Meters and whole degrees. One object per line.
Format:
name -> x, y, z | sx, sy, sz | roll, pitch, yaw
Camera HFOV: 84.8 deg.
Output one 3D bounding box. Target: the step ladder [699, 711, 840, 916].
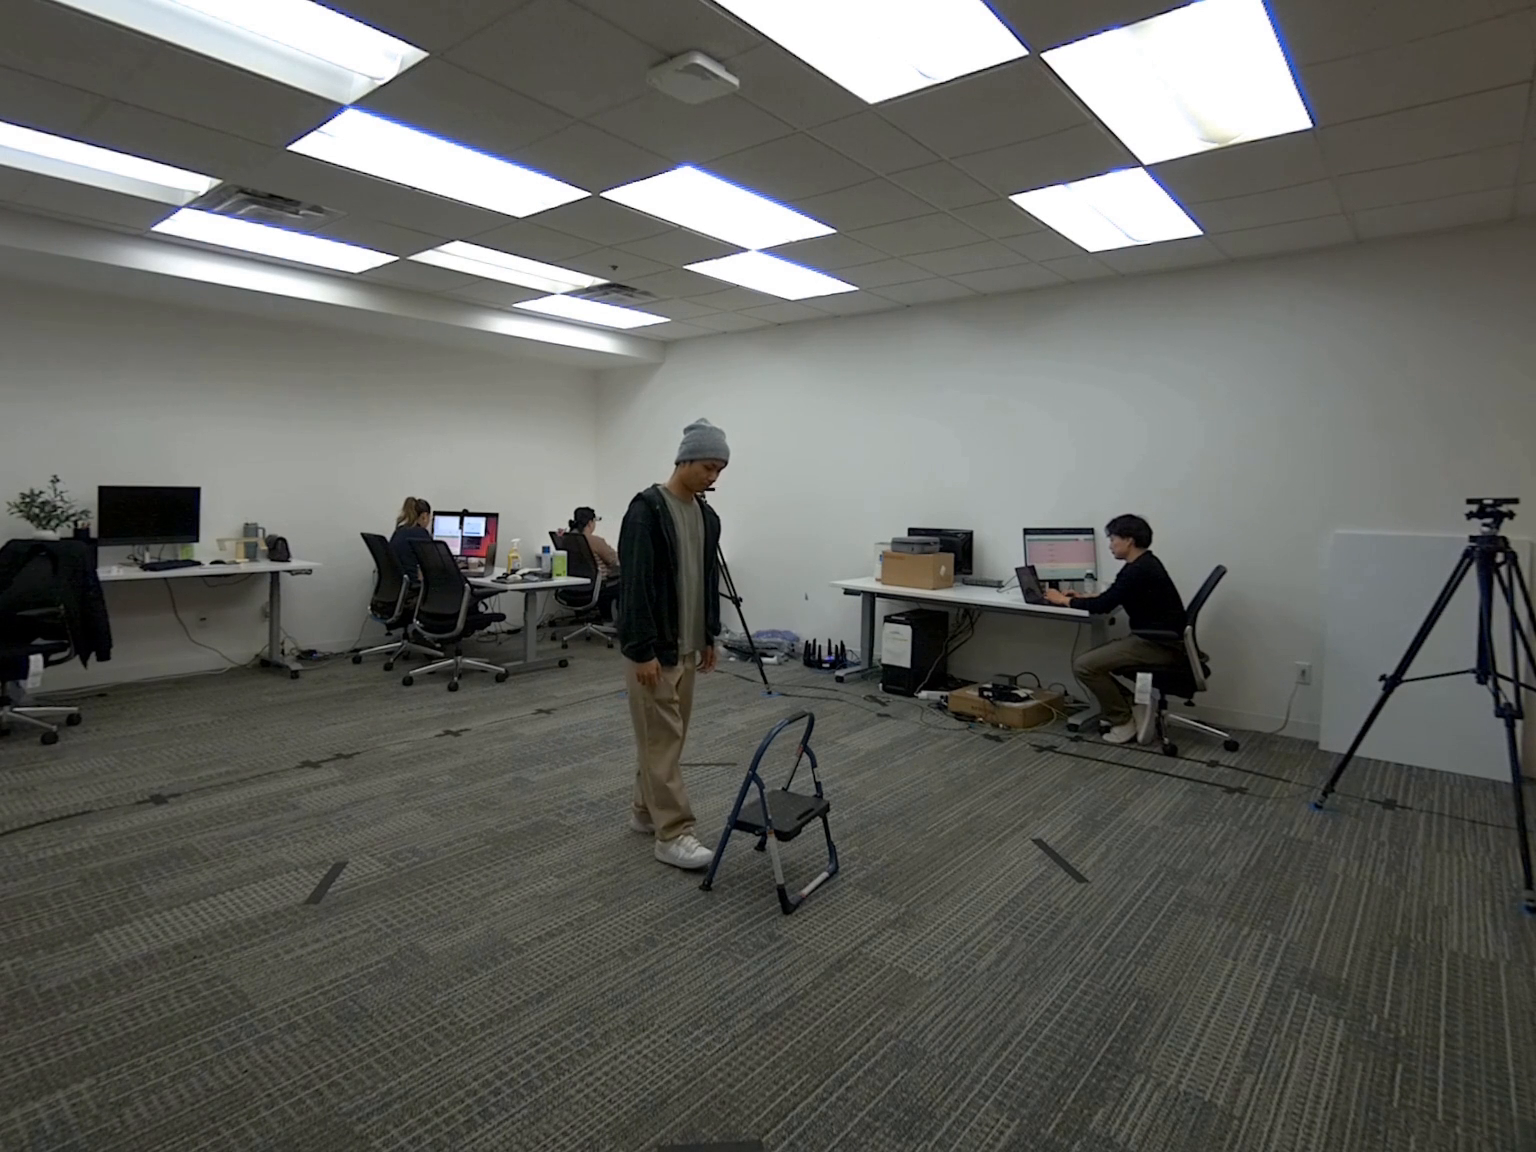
step ladder -> 0.015, 0.777, 3.017 | 0.359, 0.604, 0.419 | 3, 4, 29
